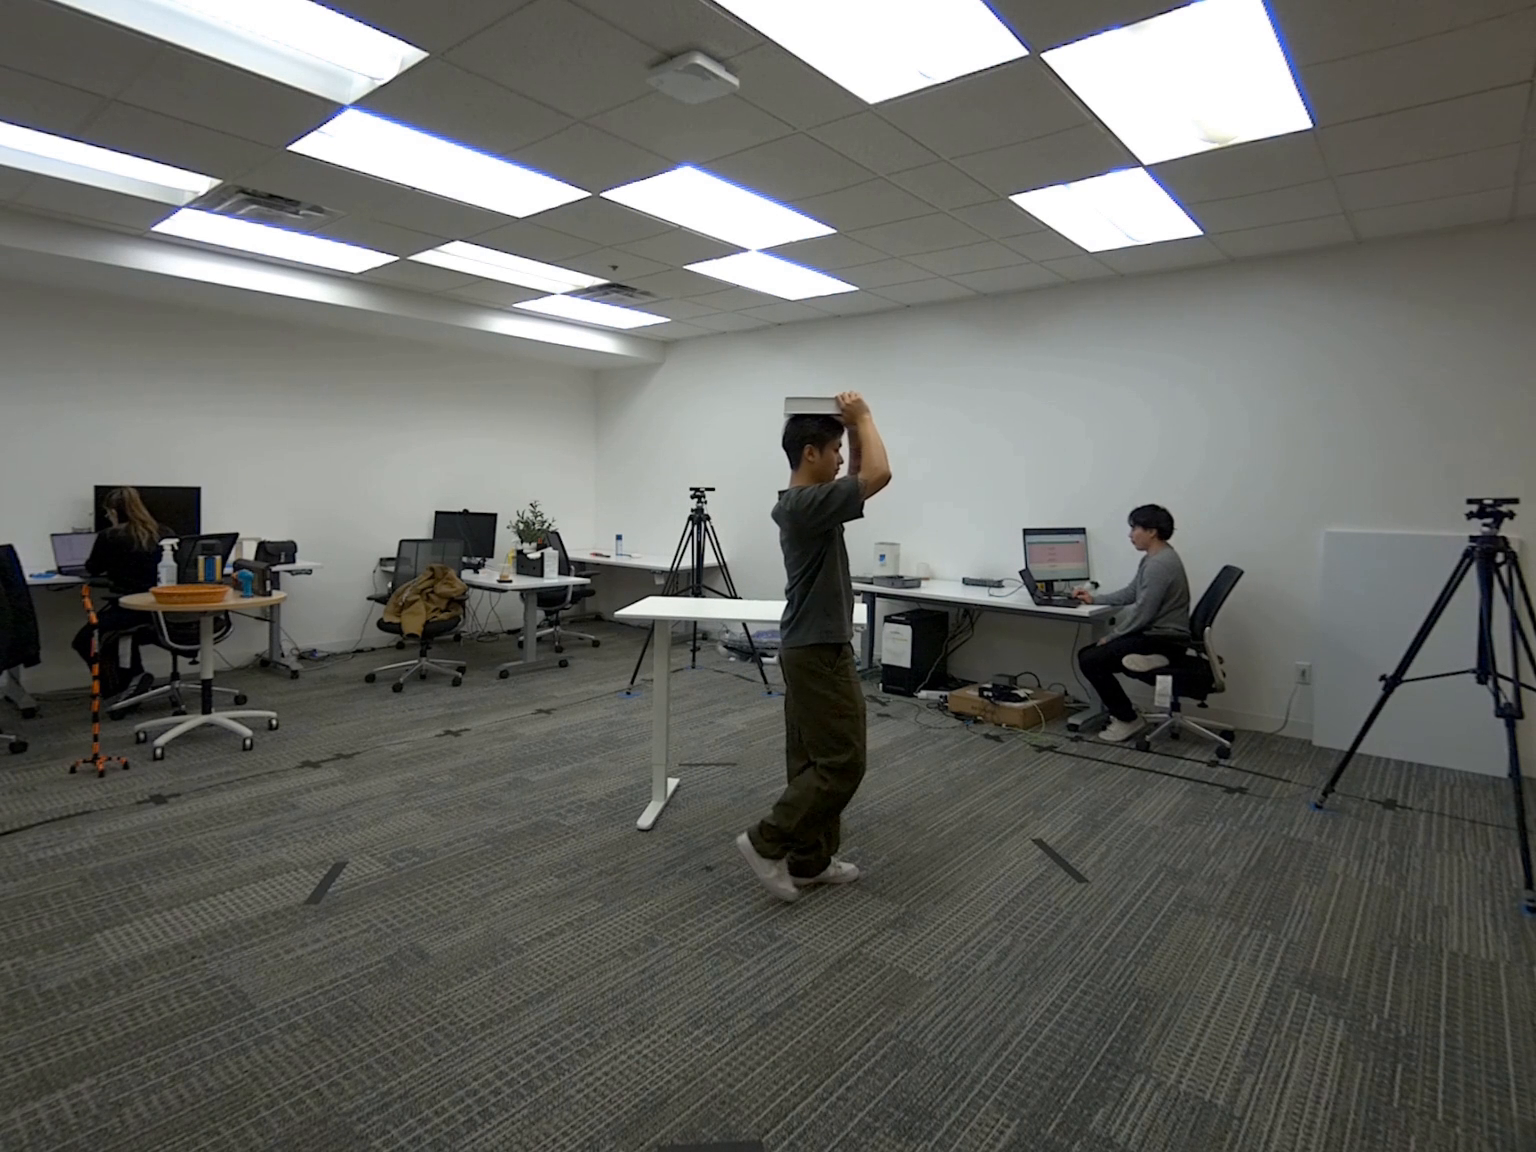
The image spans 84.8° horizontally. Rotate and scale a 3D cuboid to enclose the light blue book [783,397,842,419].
[{"bbox_3d":[0.181,-0.592,2.961,0.263,0.059,0.191,1,7,7],"label":"light blue book"}]
